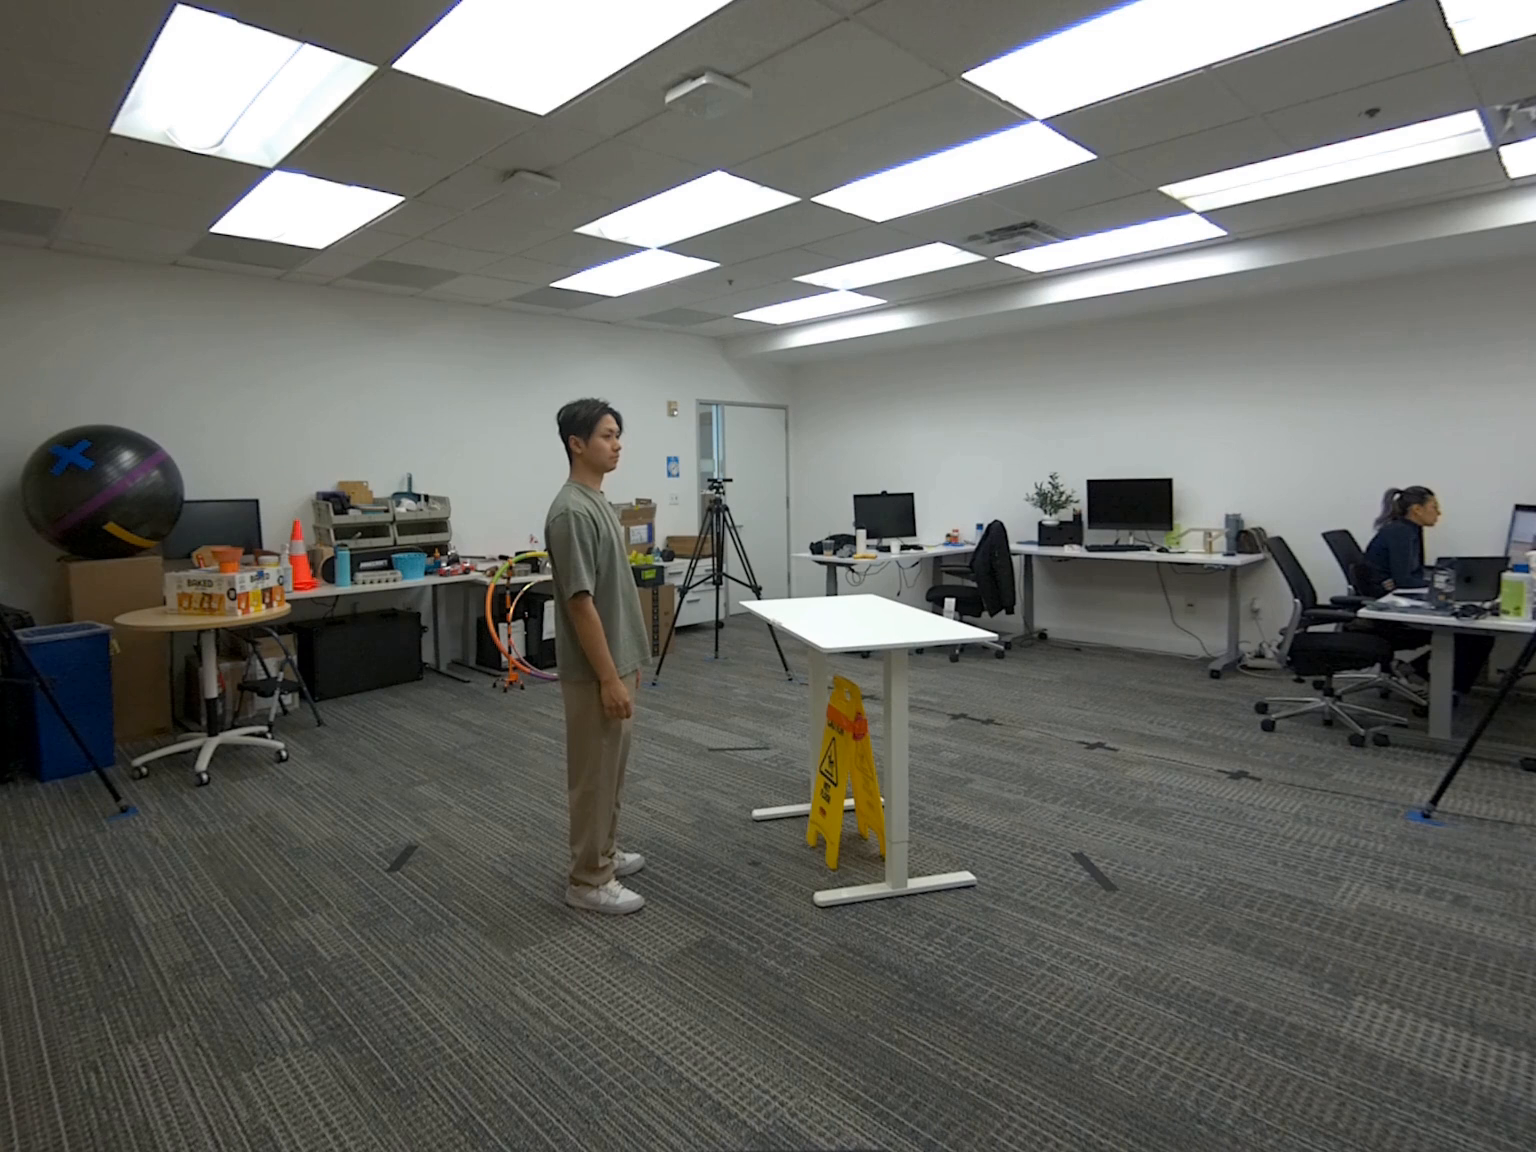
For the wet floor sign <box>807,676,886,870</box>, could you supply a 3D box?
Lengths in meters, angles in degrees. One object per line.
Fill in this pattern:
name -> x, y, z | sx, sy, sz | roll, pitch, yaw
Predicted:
wet floor sign -> 0.311, 0.716, 3.172 | 0.286, 0.643, 0.288 | -1, 6, -15
